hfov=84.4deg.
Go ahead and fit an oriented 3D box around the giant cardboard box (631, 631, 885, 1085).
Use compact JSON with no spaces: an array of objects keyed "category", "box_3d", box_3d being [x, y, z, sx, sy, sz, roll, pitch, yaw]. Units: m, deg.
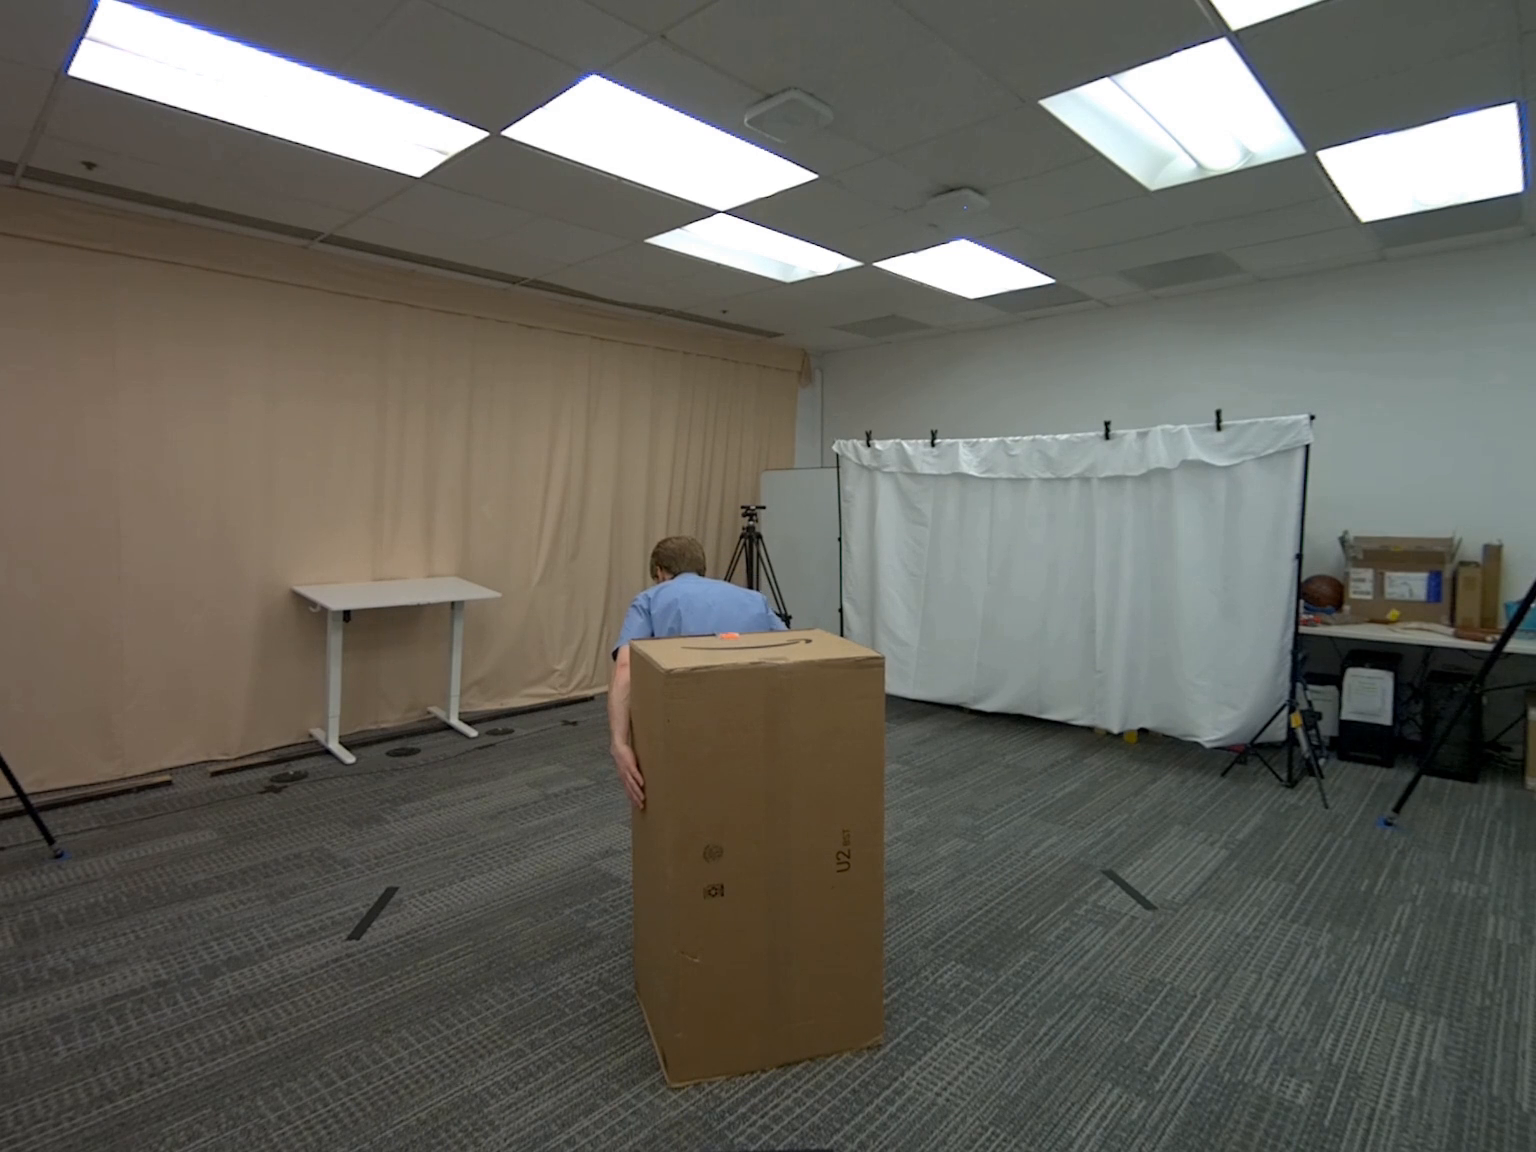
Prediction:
[{"category":"giant cardboard box","box_3d":[-0.037,0.698,2.254,0.573,1.024,0.456,-2,5,-19]}]
